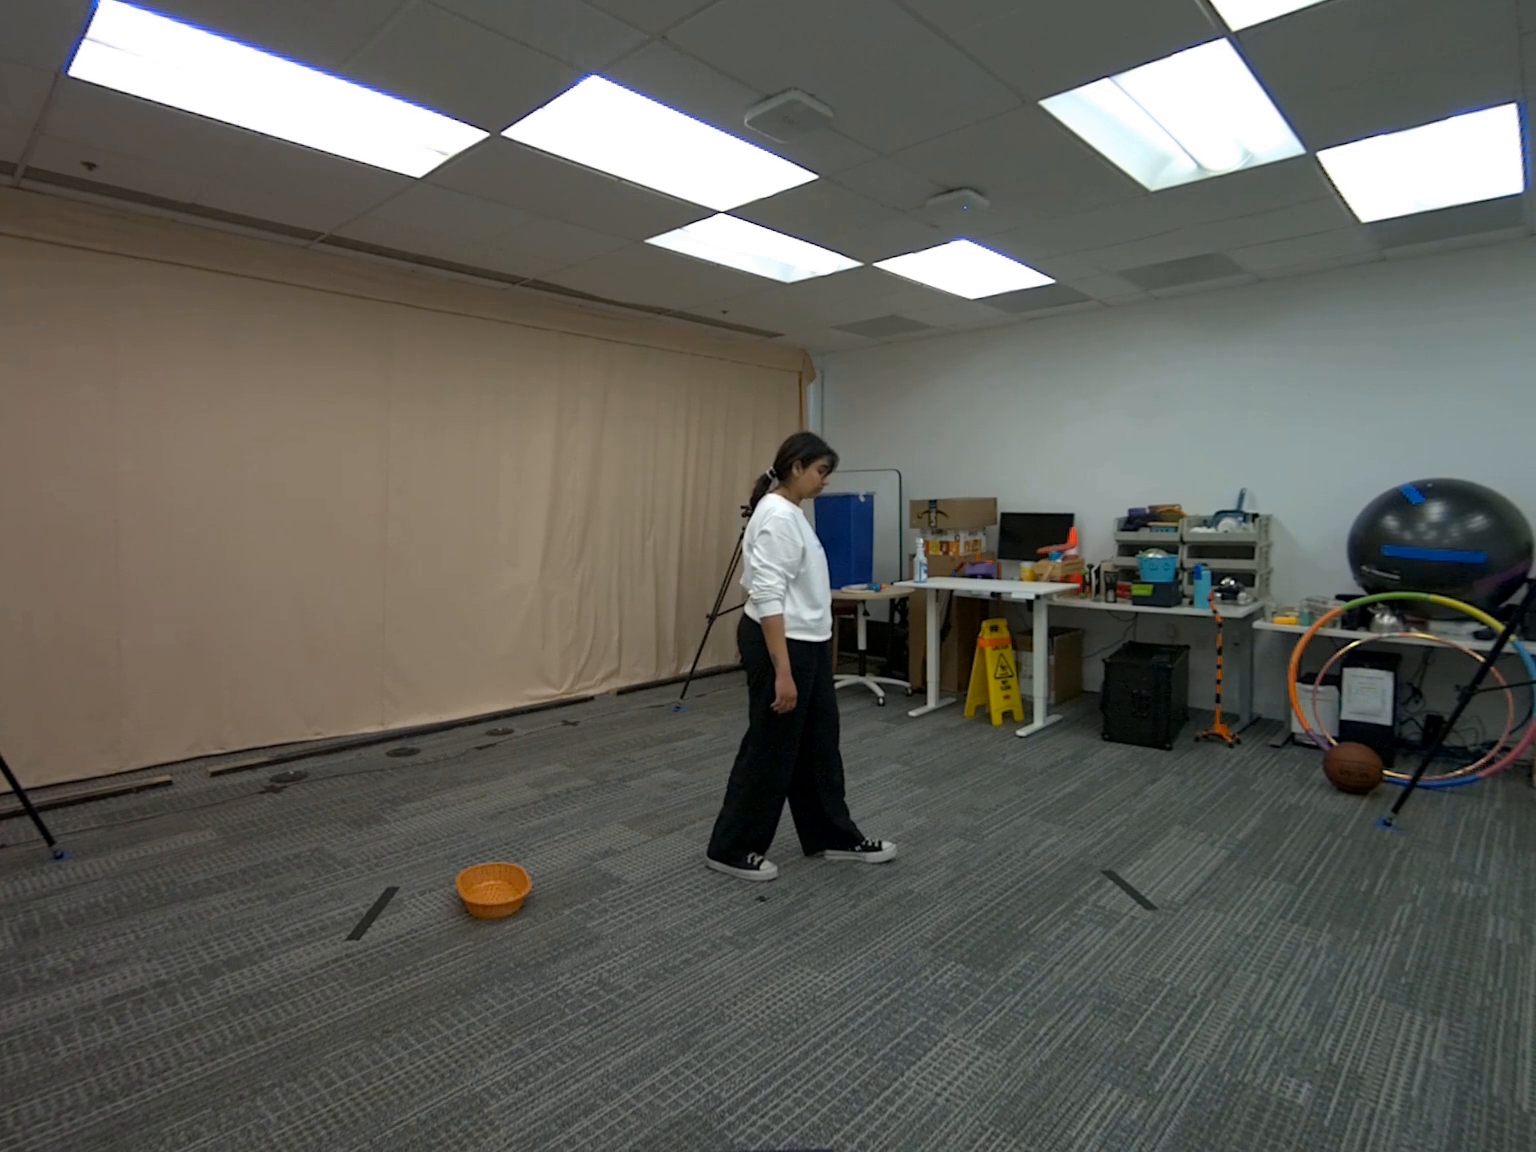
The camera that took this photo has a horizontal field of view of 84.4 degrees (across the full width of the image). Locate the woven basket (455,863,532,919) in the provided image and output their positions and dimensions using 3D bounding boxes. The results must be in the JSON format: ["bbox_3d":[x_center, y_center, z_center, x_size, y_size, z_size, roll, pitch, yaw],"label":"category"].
[{"bbox_3d":[-0.973,1.120,2.979,0.246,0.073,0.360,-1,4,-27],"label":"woven basket"}]
